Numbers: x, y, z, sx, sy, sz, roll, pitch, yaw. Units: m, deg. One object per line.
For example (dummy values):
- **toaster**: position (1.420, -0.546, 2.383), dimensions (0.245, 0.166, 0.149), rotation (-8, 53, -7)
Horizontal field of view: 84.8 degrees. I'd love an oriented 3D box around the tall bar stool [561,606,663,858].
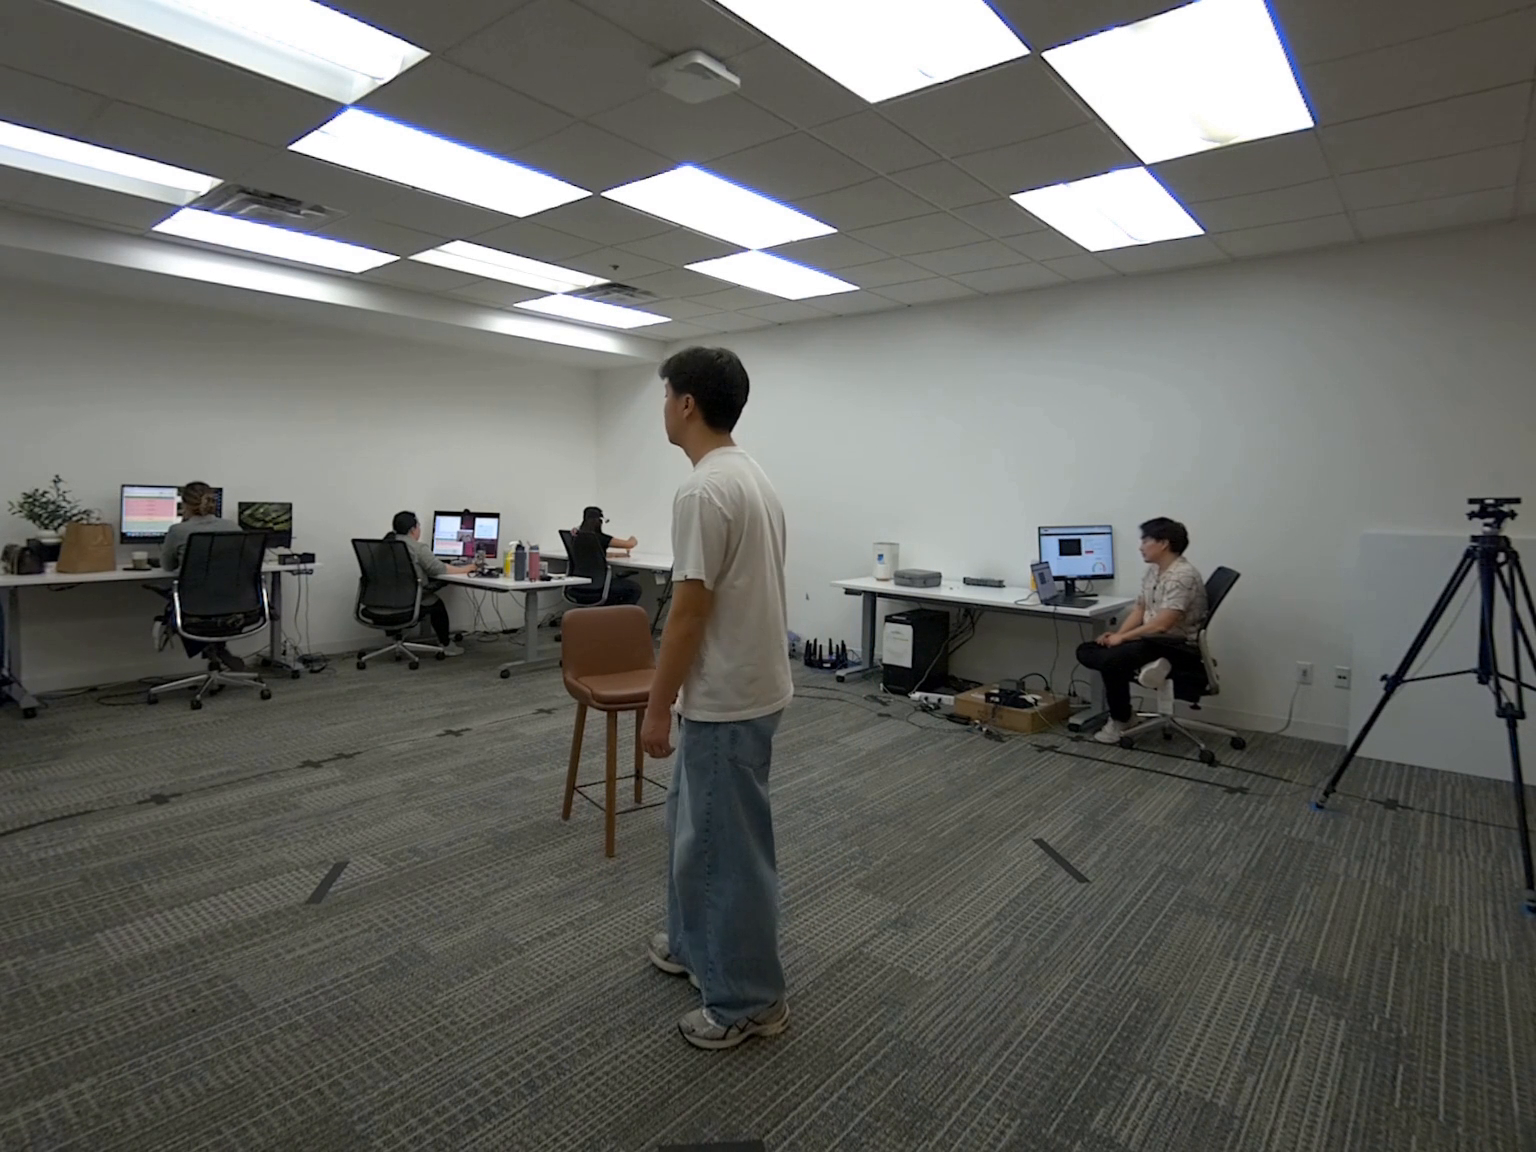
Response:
- **tall bar stool**: position (-0.587, 0.586, 3.457), dimensions (0.443, 0.888, 0.482), rotation (-2, 2, -37)
